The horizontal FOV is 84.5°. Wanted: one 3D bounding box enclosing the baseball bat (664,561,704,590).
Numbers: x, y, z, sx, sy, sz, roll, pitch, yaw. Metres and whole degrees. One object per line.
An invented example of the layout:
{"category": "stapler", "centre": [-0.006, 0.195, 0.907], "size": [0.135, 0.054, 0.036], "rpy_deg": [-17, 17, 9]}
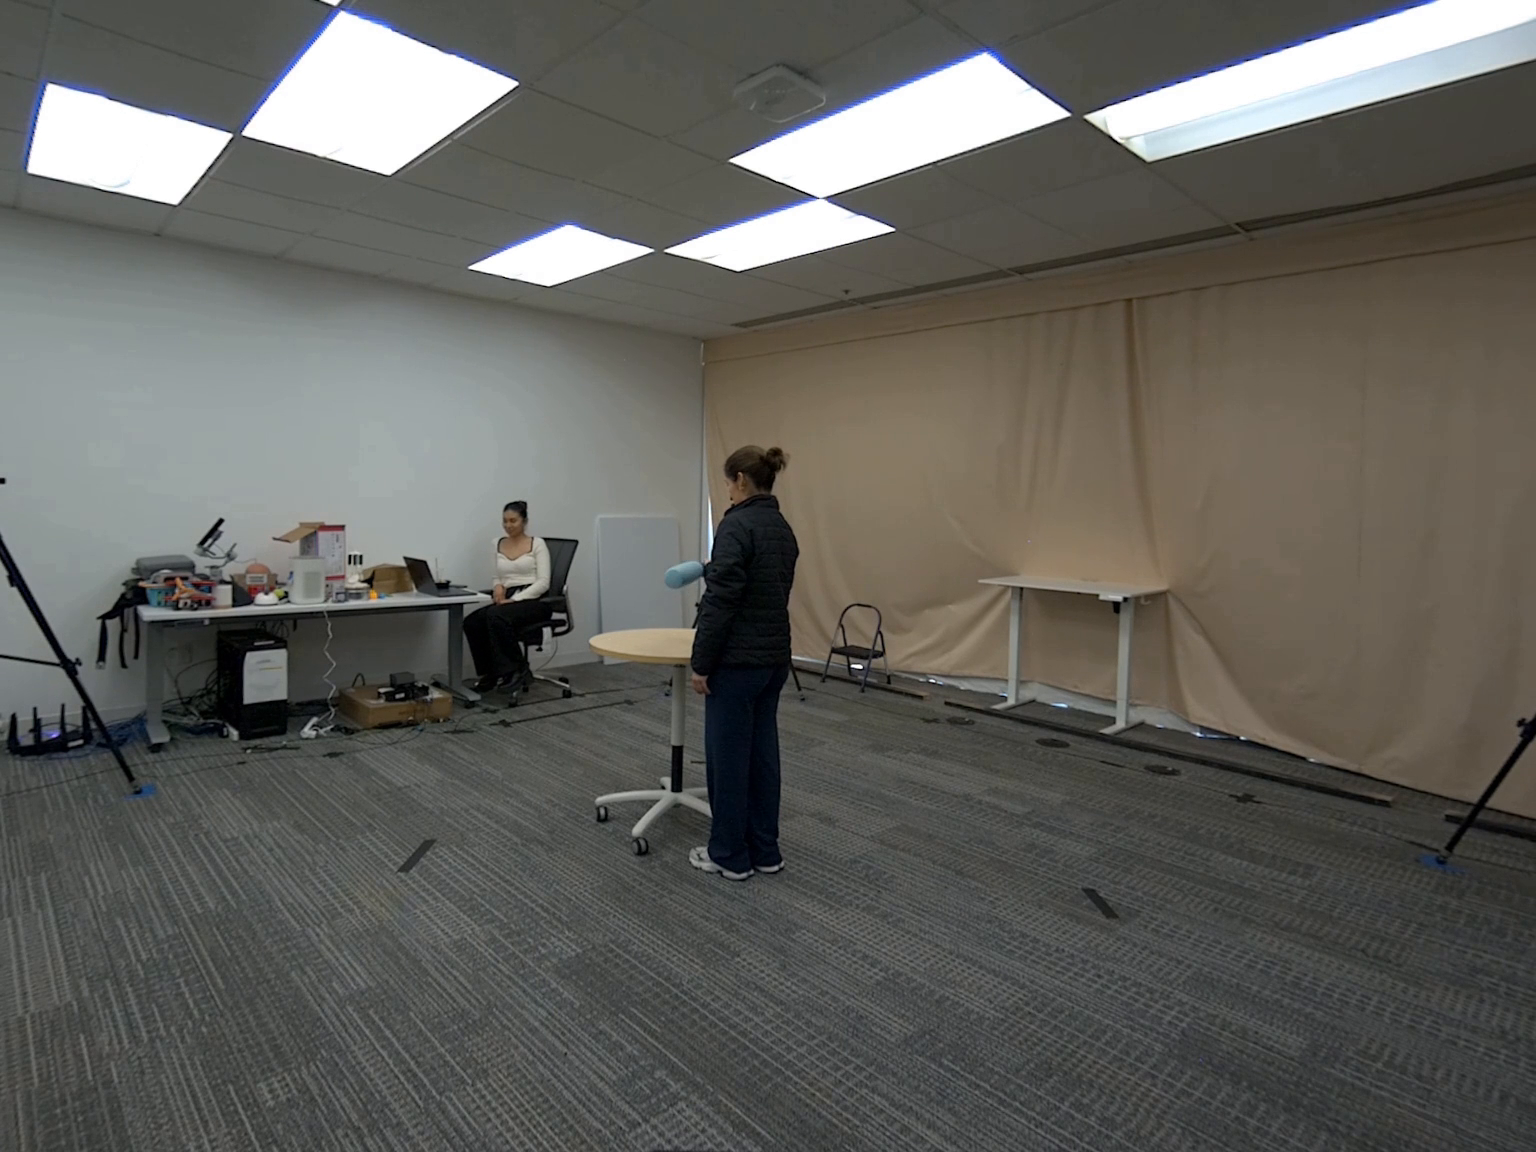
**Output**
{"category": "baseball bat", "centre": [-0.297, -0.025, 3.526], "size": [0.090, 0.088, 0.539], "rpy_deg": [2, 11, 16]}
